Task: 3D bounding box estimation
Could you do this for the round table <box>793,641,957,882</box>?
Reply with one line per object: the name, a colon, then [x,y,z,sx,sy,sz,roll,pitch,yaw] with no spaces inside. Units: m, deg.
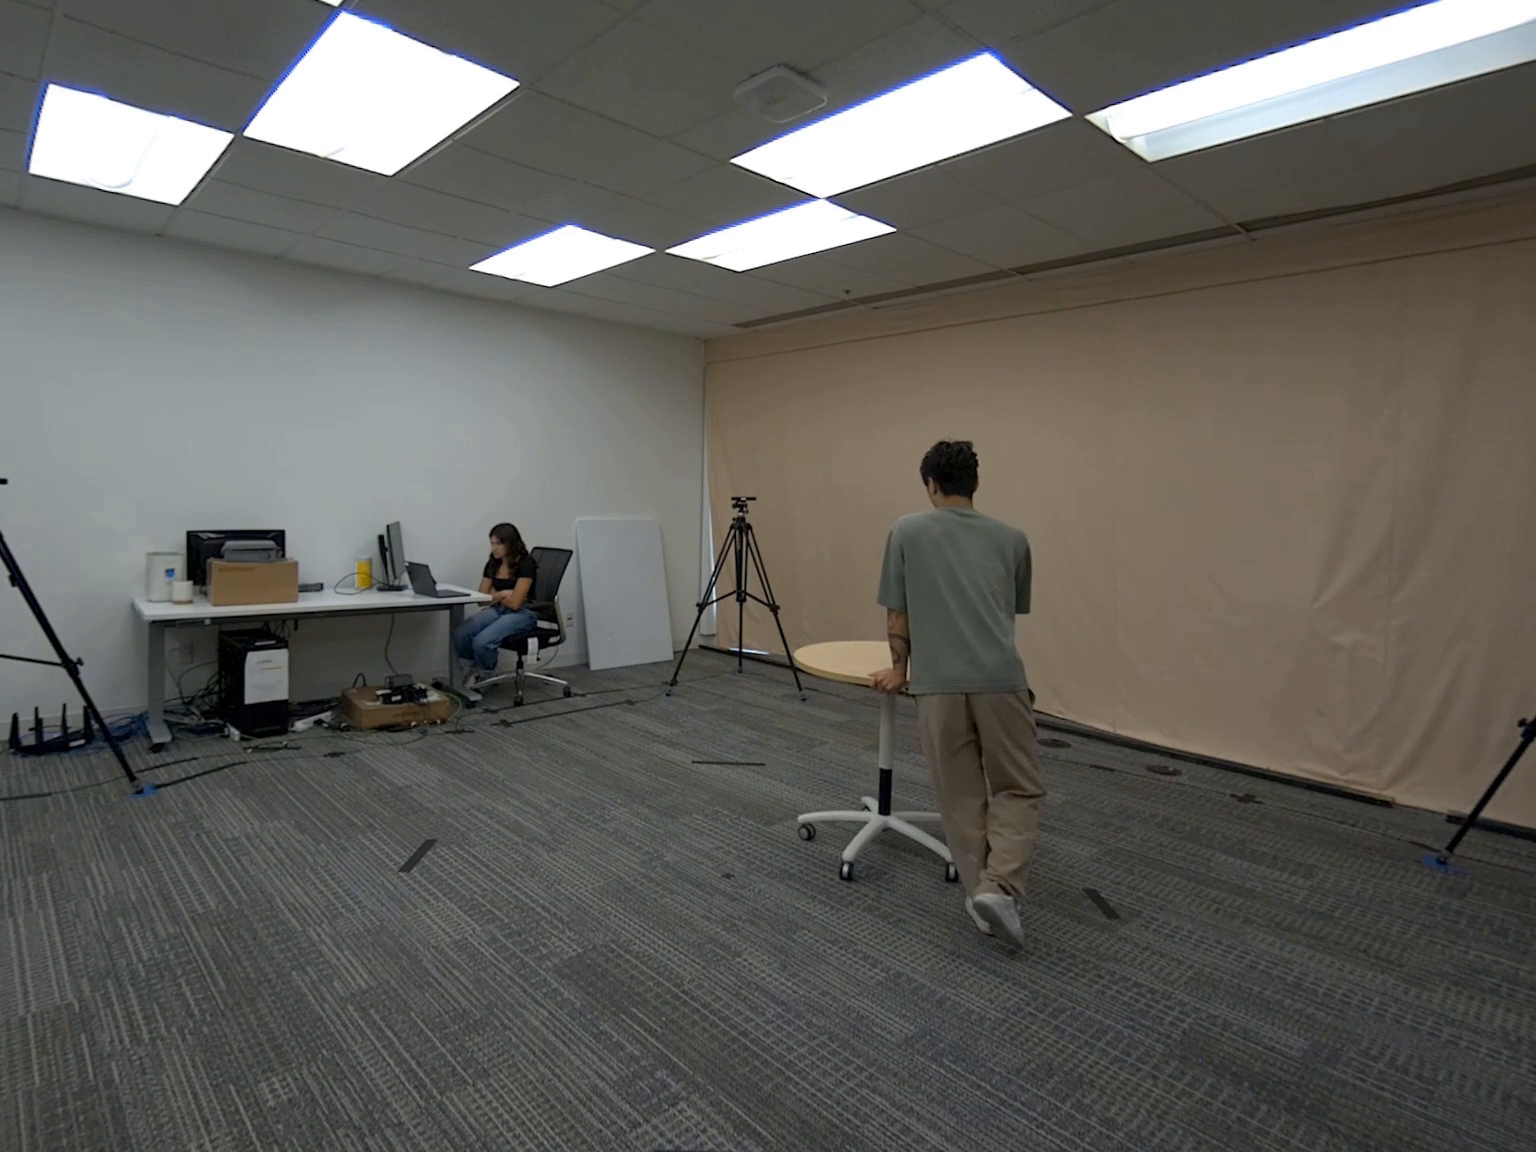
round table: [0.465,0.710,3.383,0.784,0.784,0.788,1,5,-1]
